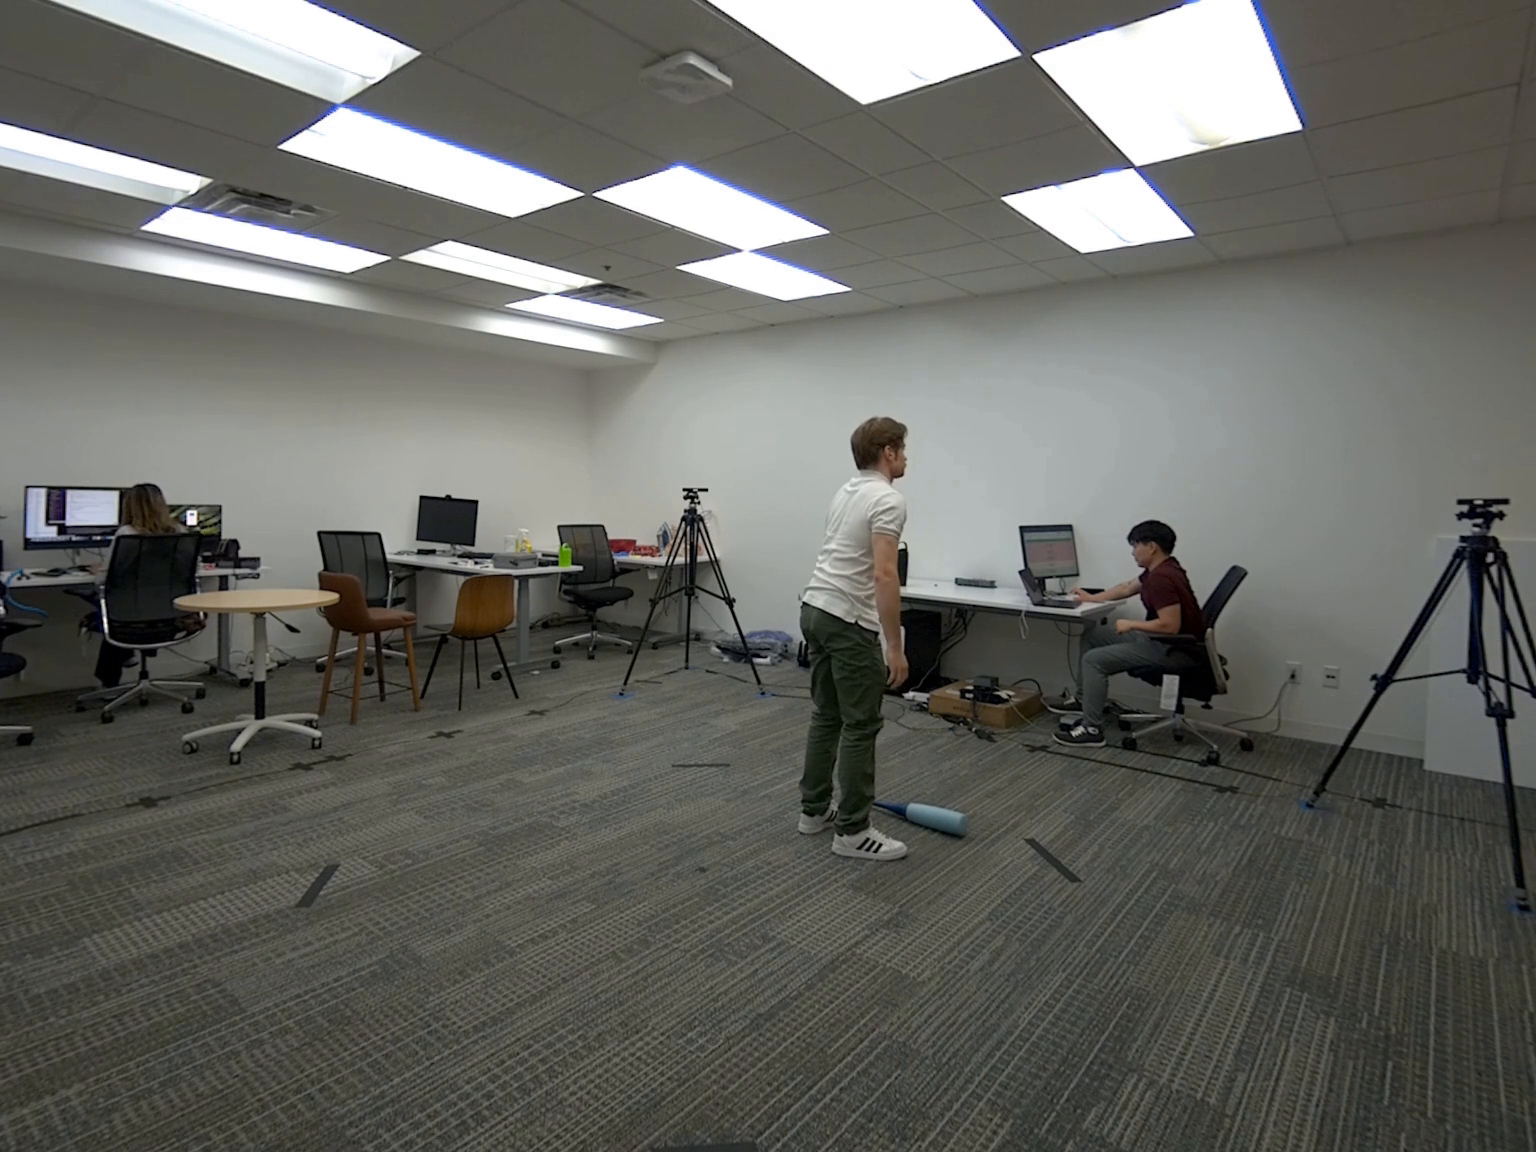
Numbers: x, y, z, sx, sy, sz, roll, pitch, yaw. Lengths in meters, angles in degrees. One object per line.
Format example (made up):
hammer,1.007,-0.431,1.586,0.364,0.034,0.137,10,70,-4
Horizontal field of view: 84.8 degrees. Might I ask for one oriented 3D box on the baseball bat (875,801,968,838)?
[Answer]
baseball bat,0.585,1.002,3.630,0.561,0.089,0.086,3,4,42
